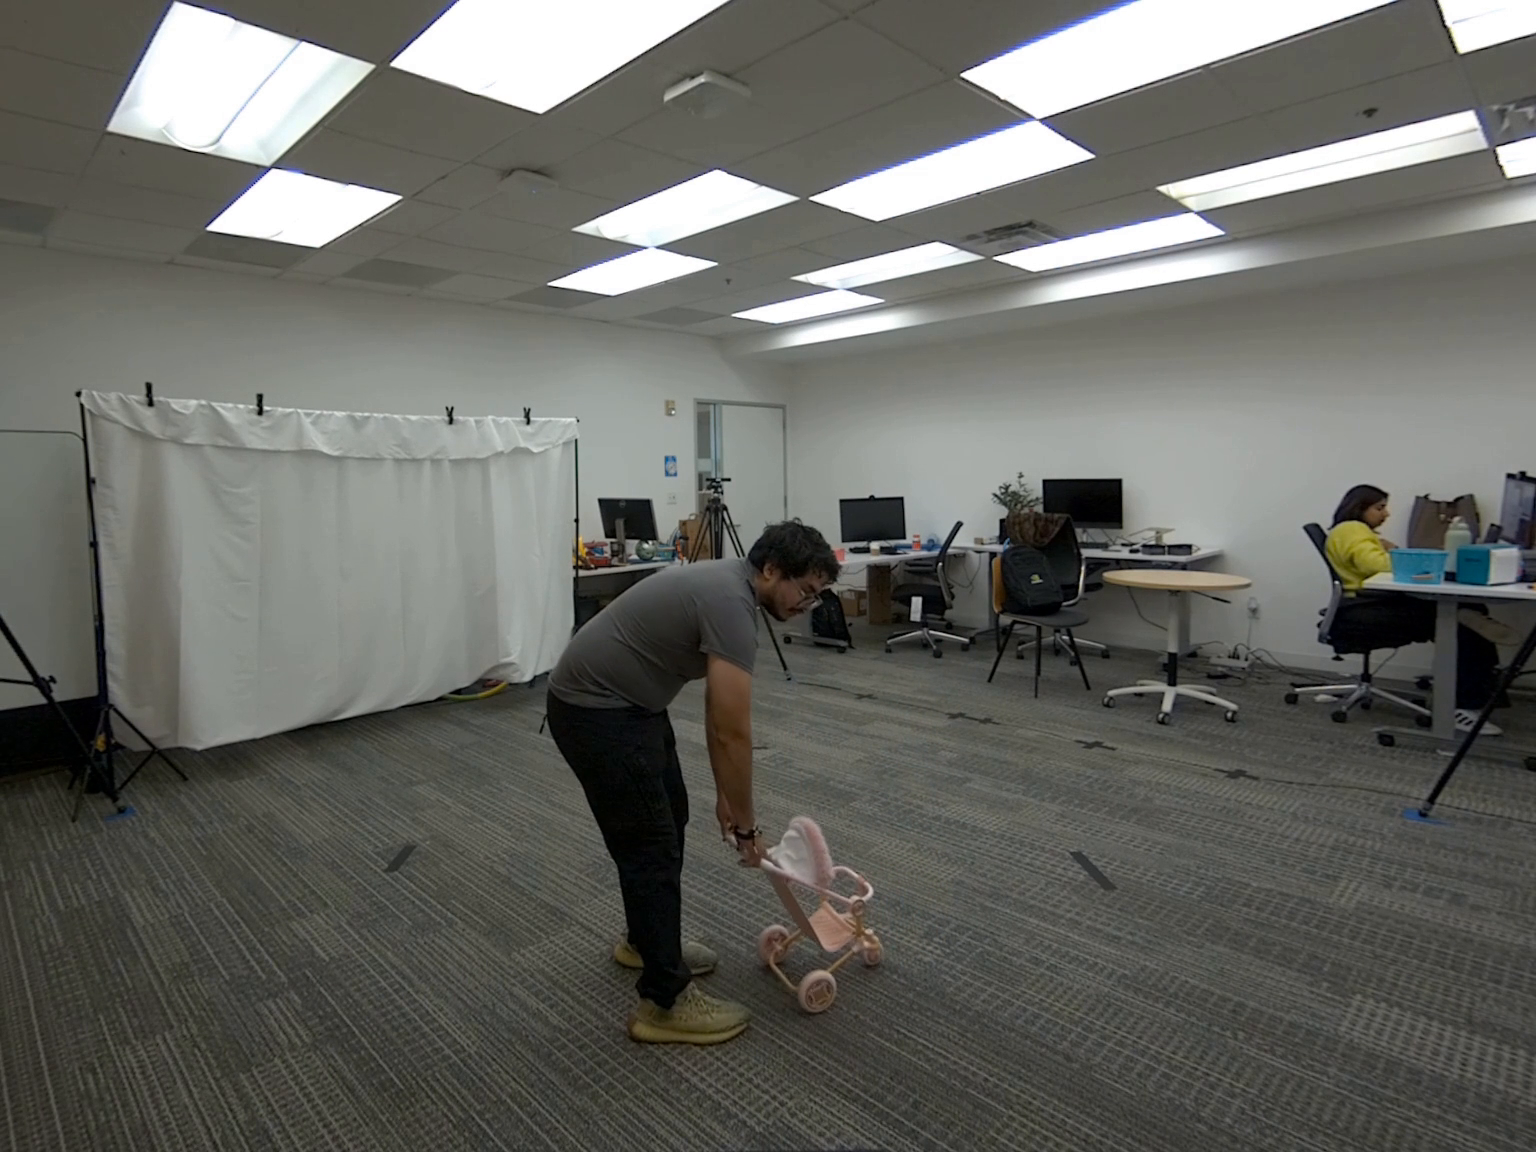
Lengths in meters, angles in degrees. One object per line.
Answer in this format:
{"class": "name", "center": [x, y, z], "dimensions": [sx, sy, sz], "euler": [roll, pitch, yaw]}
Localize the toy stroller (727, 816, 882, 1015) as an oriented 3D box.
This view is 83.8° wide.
{"class": "toy stroller", "center": [0.132, 0.897, 2.365], "dimensions": [0.337, 0.529, 0.287], "euler": [-19, 10, -18]}
